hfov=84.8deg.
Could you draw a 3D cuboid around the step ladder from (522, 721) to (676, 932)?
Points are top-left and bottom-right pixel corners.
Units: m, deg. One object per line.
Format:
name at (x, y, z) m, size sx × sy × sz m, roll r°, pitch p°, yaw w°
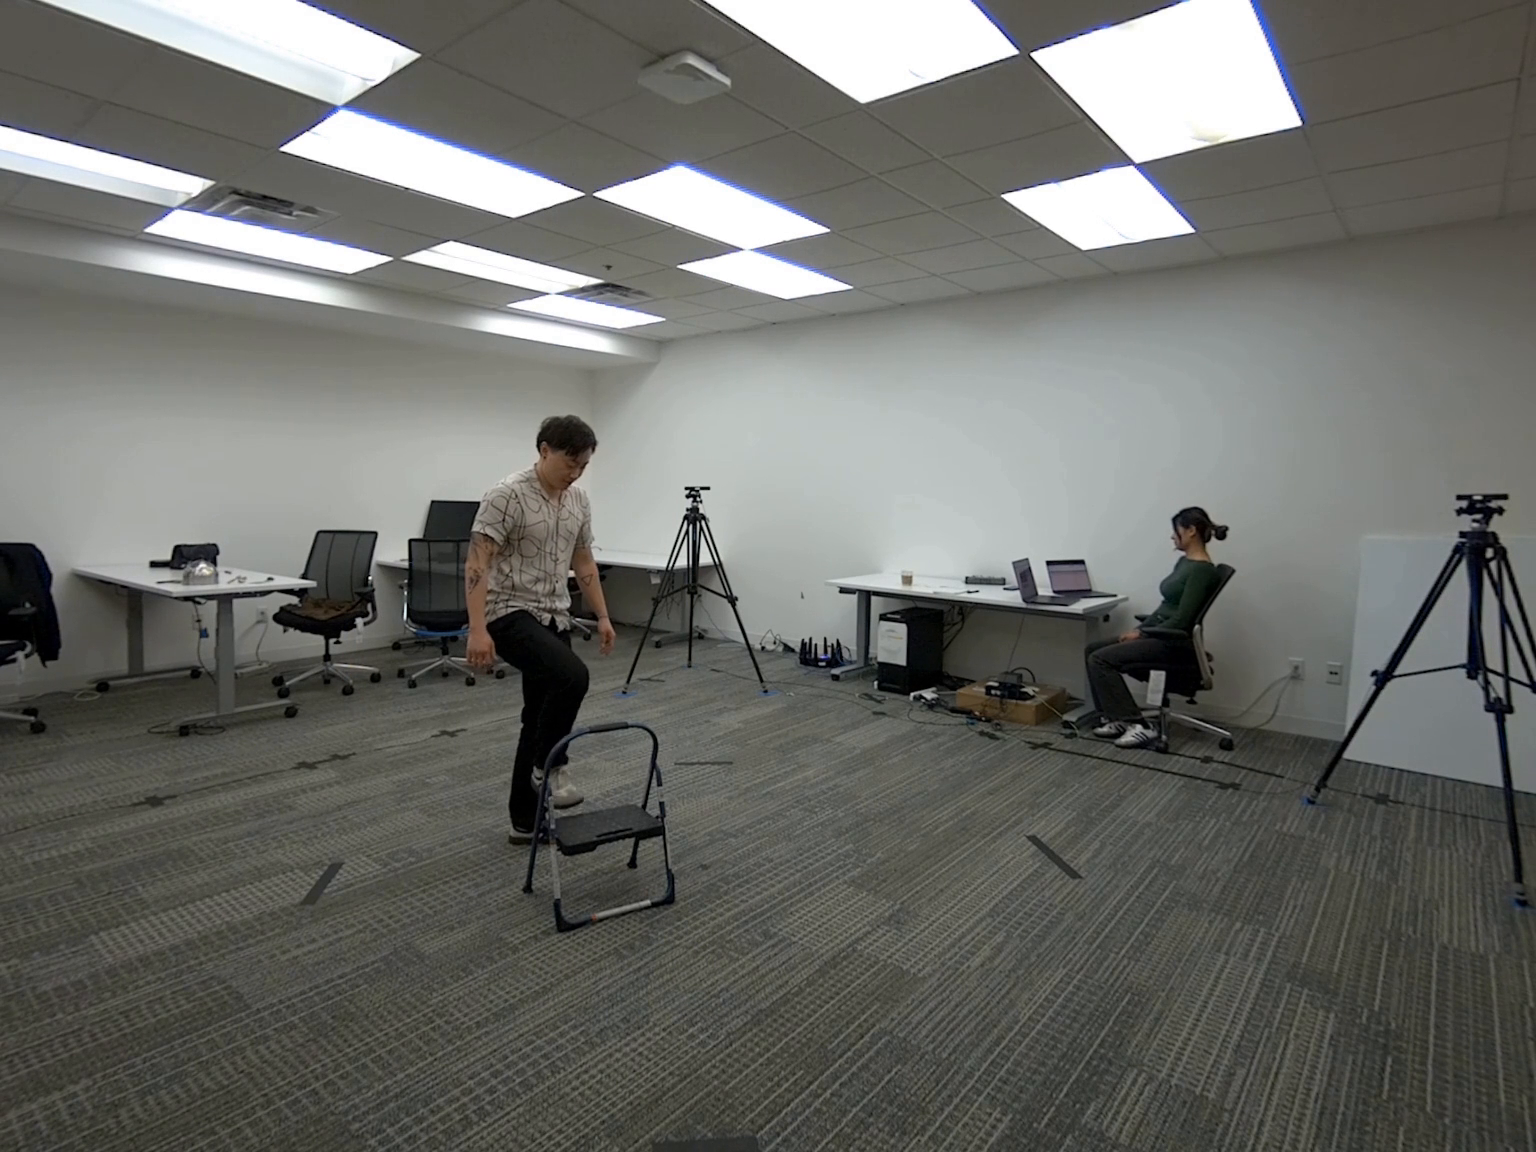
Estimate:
step ladder at (-0.581, 0.779, 2.871) m, size 0.418 × 0.604 × 0.360 m, roll -2°, pitch 4°, yaw -33°
